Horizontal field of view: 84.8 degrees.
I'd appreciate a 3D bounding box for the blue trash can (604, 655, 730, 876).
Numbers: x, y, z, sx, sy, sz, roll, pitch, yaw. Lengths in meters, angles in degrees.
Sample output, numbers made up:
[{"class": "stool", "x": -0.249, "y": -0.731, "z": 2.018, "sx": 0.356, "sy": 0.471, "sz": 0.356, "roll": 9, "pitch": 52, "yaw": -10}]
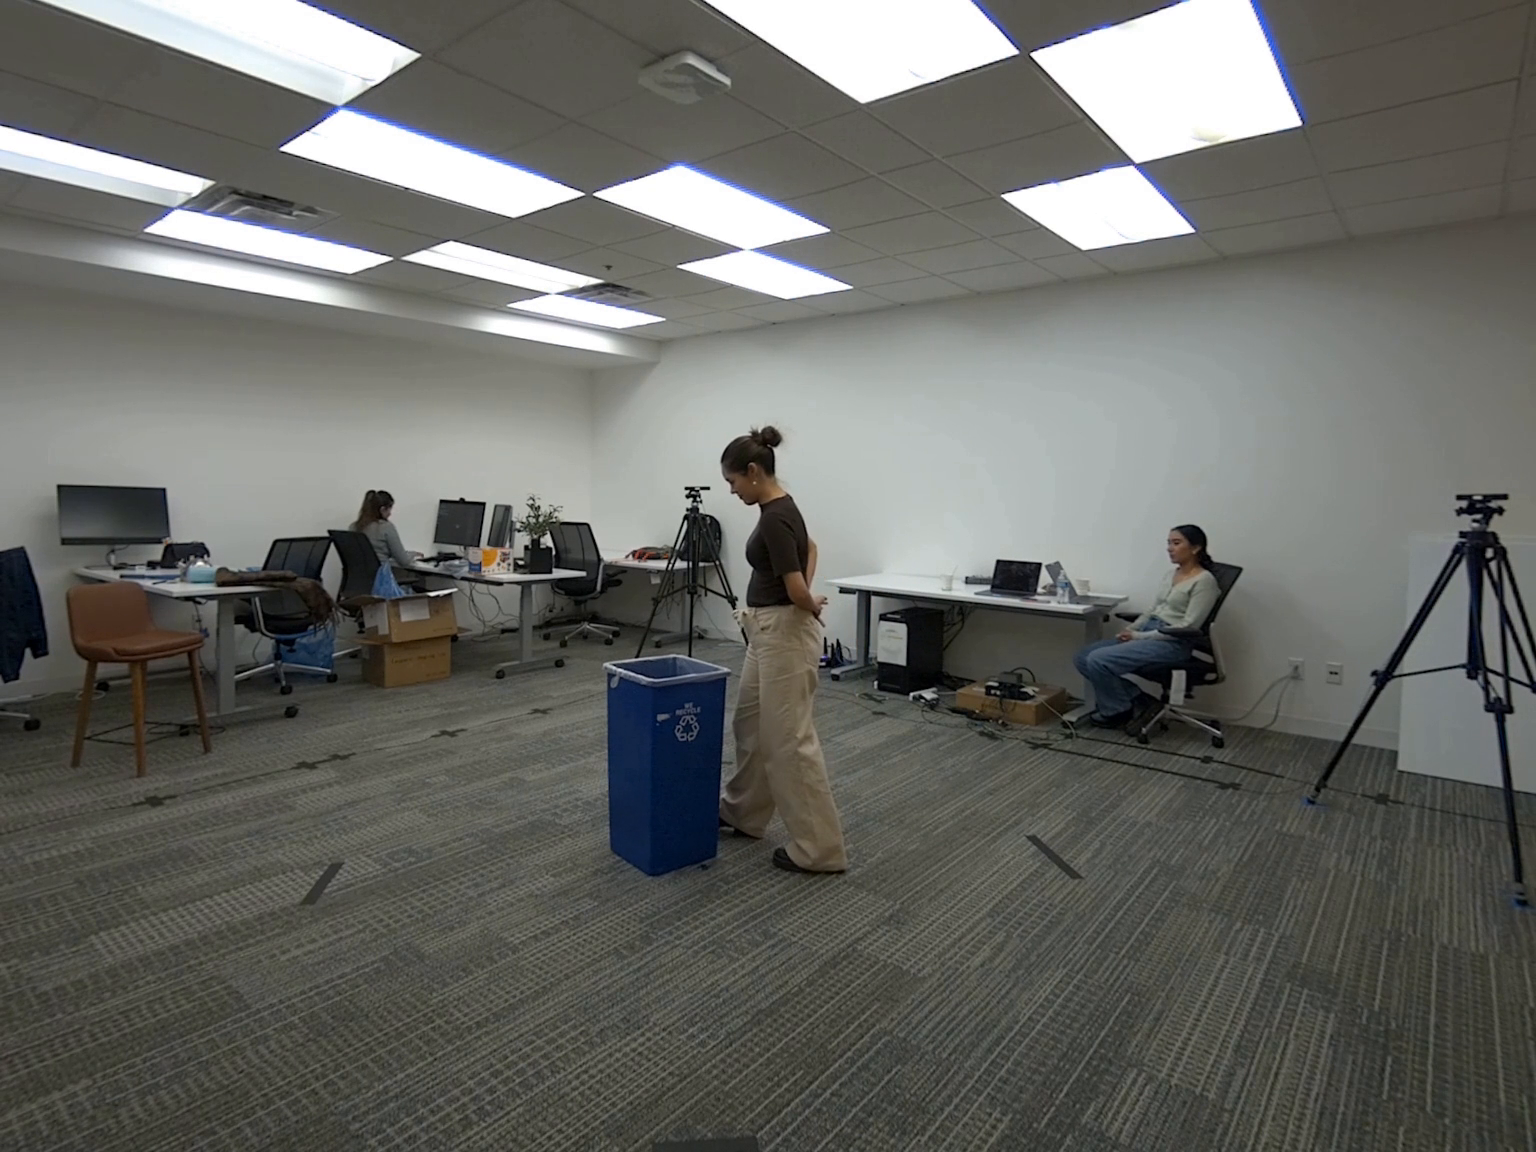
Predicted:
[{"class": "blue trash can", "x": -0.396, "y": 0.695, "z": 3.218, "sx": 0.366, "sy": 0.712, "sz": 0.386, "roll": -1, "pitch": 4, "yaw": -40}]
